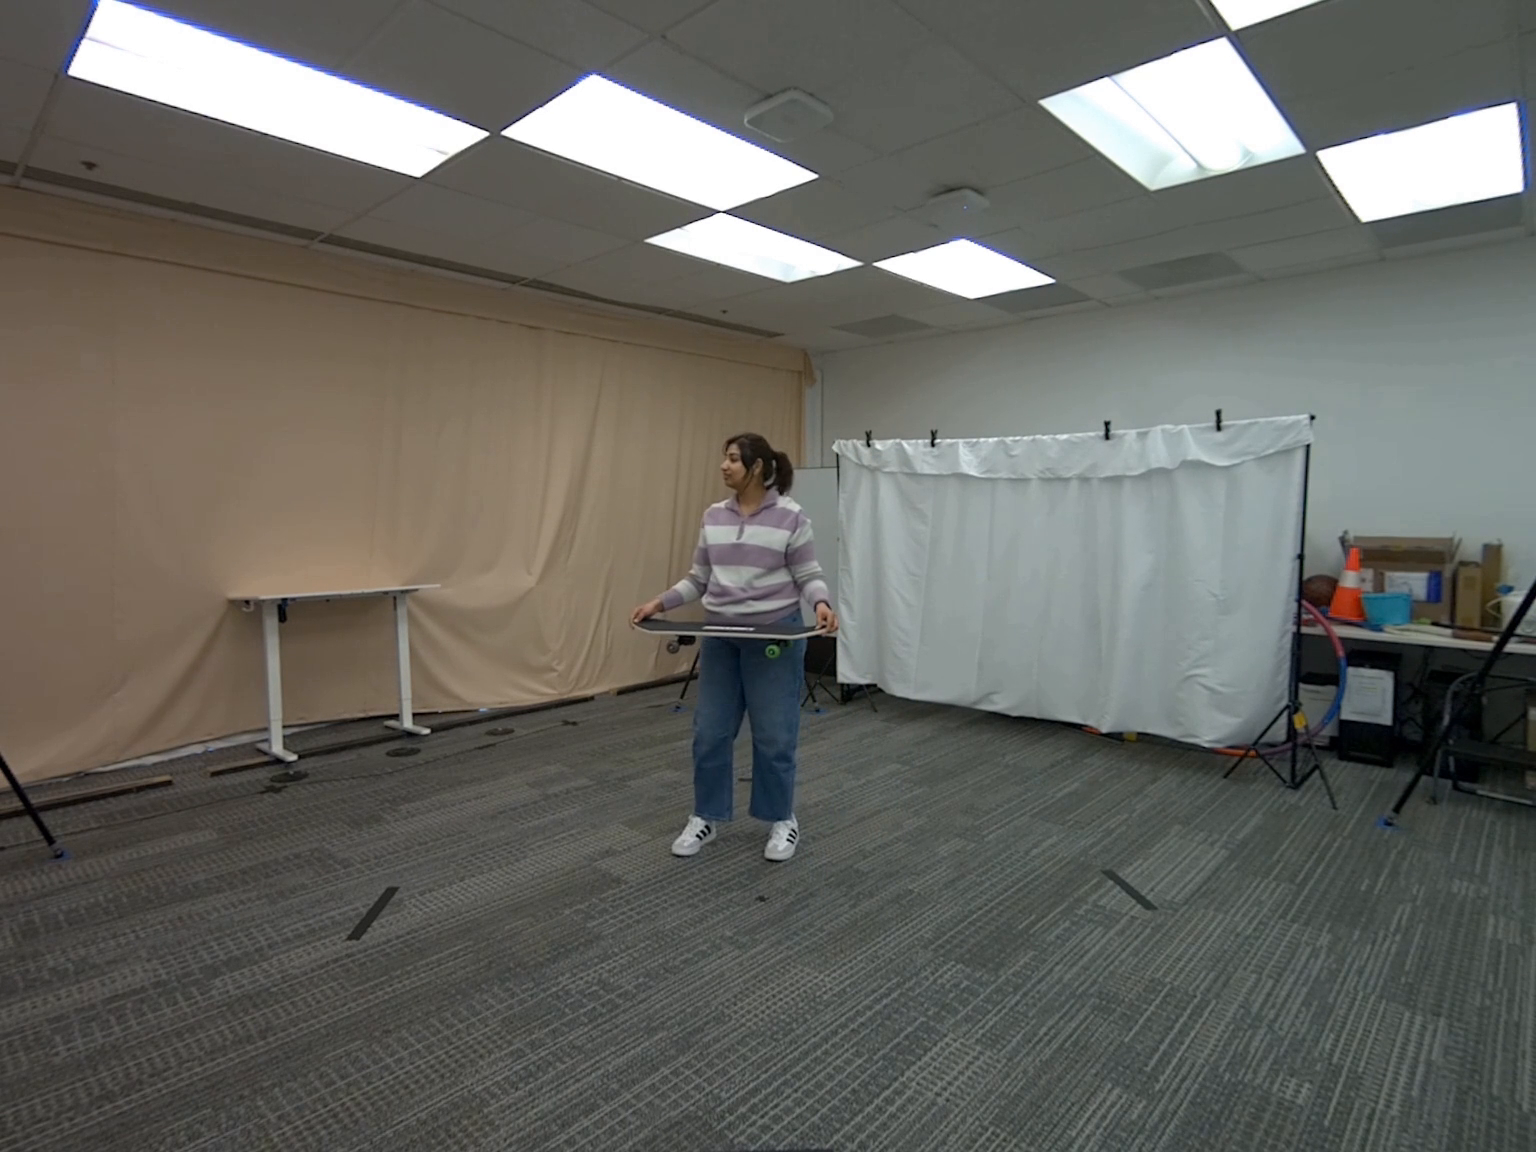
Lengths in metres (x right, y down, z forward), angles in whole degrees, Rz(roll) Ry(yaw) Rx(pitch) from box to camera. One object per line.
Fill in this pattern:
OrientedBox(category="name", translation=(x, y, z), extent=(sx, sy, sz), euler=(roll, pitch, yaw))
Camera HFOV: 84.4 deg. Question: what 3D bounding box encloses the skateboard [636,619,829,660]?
OrientedBox(category="skateboard", translation=(-0.159, 0.232, 3.178), extent=(0.804, 0.110, 0.190), euler=(1, 8, 23))
